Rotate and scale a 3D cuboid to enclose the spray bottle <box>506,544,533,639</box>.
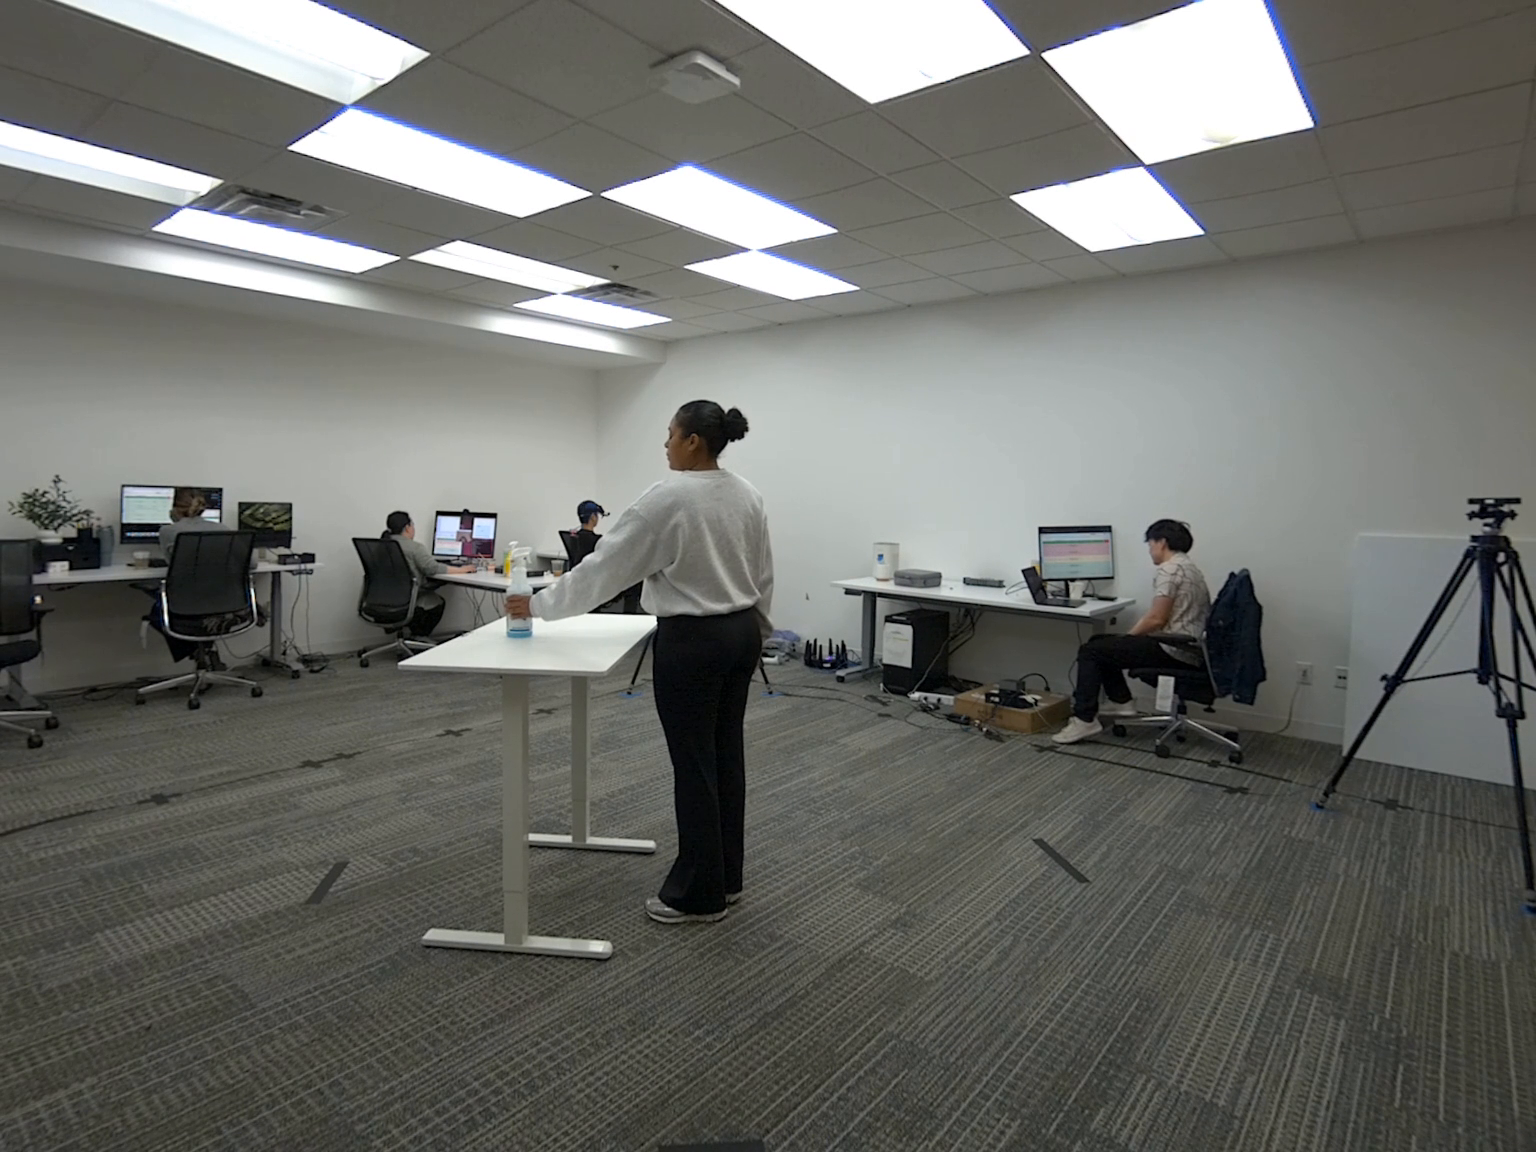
[{"bbox_3d":[-0.851,0.054,2.867,0.088,0.297,0.089,-2,2,-30],"label":"spray bottle"}]
